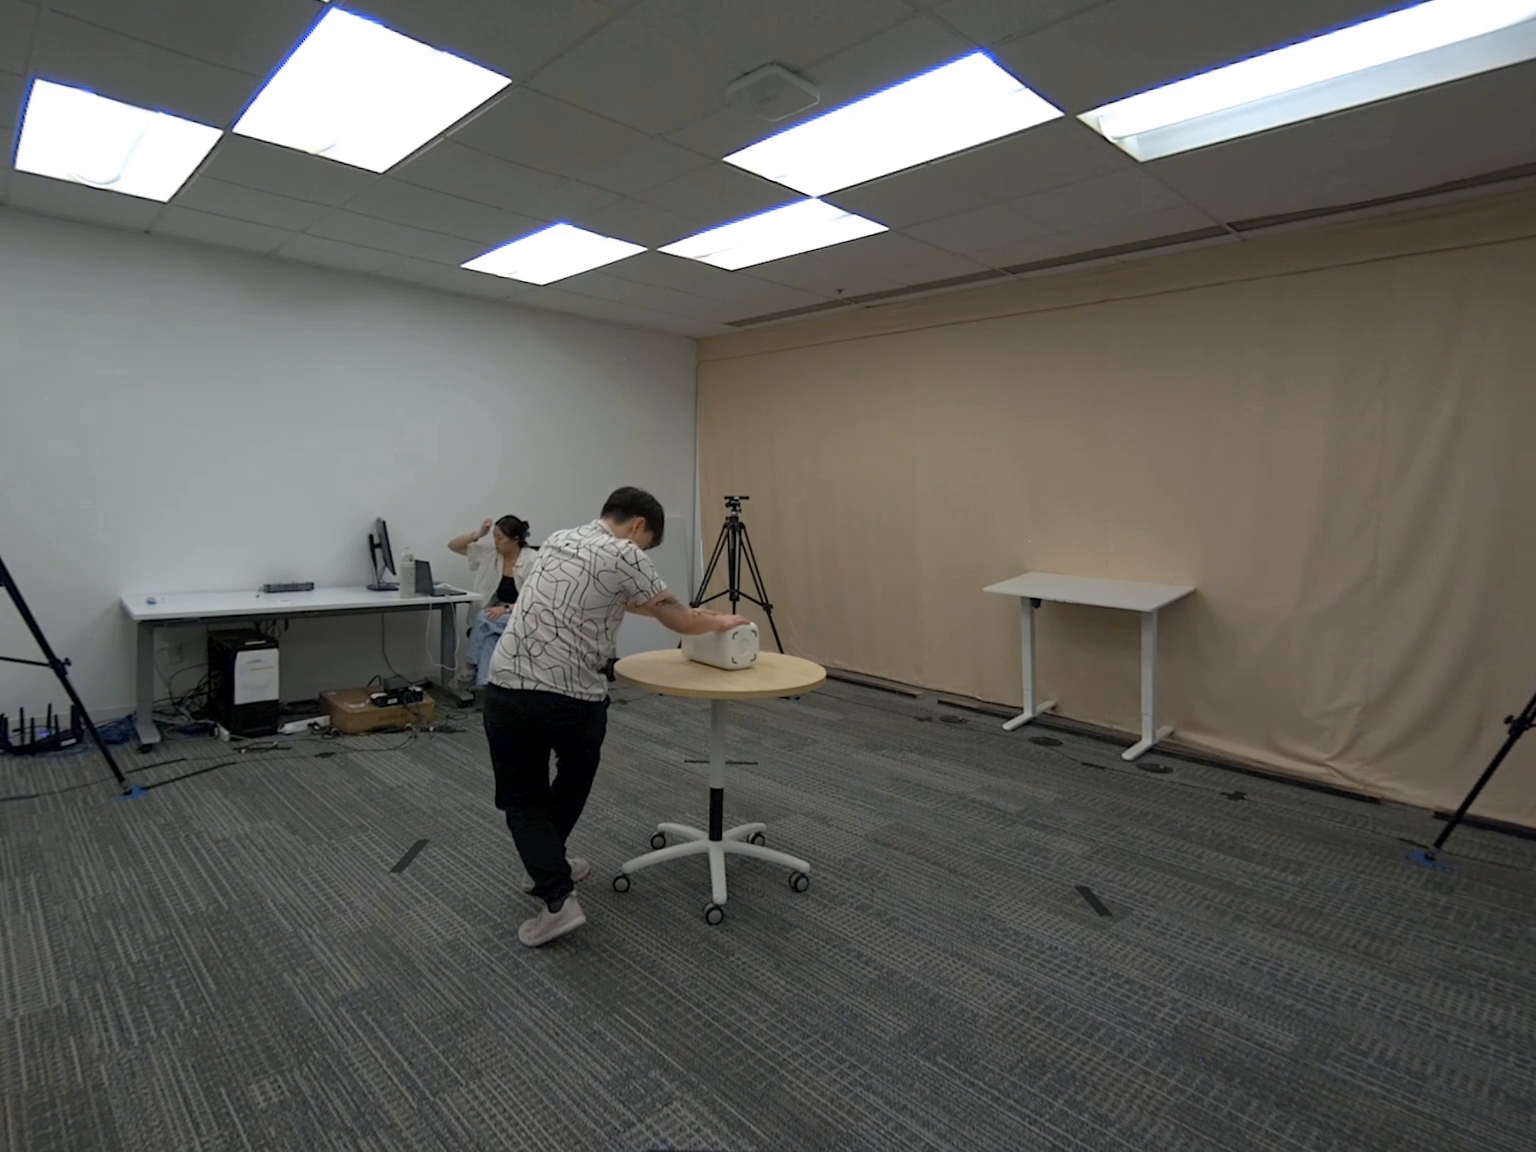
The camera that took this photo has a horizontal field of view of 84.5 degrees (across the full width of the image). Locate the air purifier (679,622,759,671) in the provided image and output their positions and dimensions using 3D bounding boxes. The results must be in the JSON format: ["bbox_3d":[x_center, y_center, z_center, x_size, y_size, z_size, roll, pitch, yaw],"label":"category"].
[{"bbox_3d":[-0.180,0.238,3.094,0.167,0.171,0.272,-3,7,-42],"label":"air purifier"}]
